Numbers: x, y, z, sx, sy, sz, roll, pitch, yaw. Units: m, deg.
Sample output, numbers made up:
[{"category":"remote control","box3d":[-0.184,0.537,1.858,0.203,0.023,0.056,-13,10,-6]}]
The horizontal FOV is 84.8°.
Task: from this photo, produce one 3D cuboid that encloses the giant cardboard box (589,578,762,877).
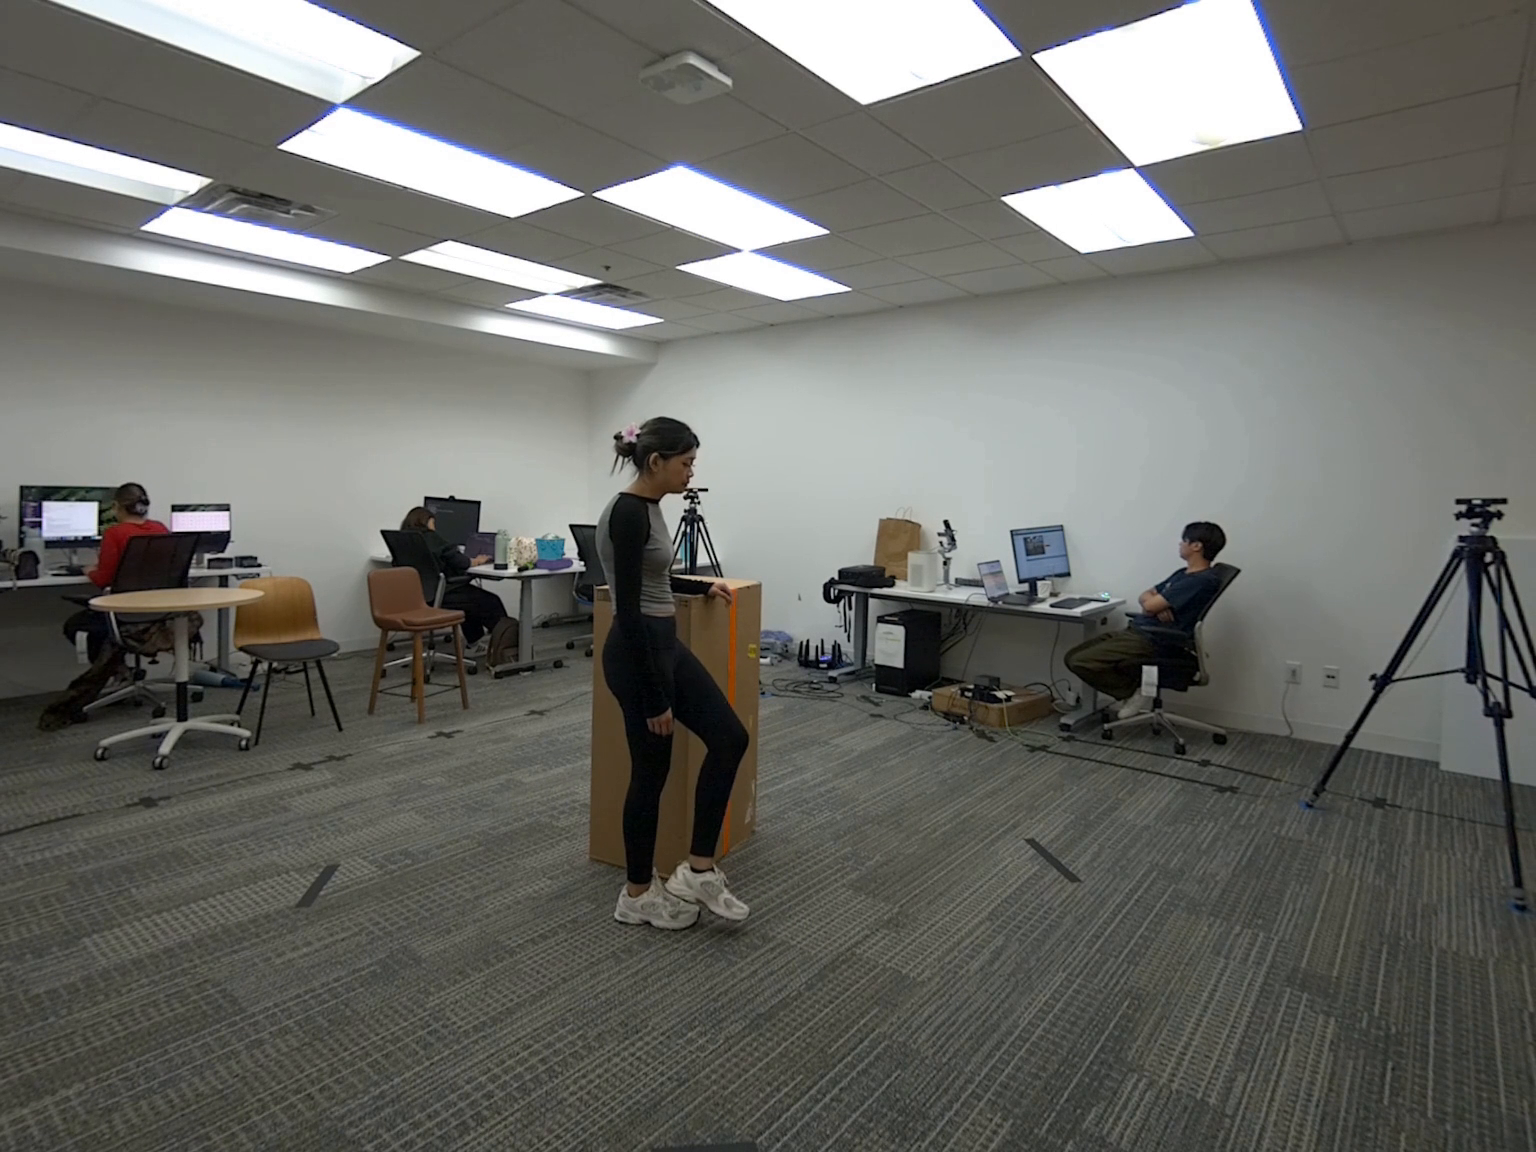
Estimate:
[{"category":"giant cardboard box","box3d":[-0.353,0.536,3.304,0.438,1.023,0.563,3,4,27]}]
